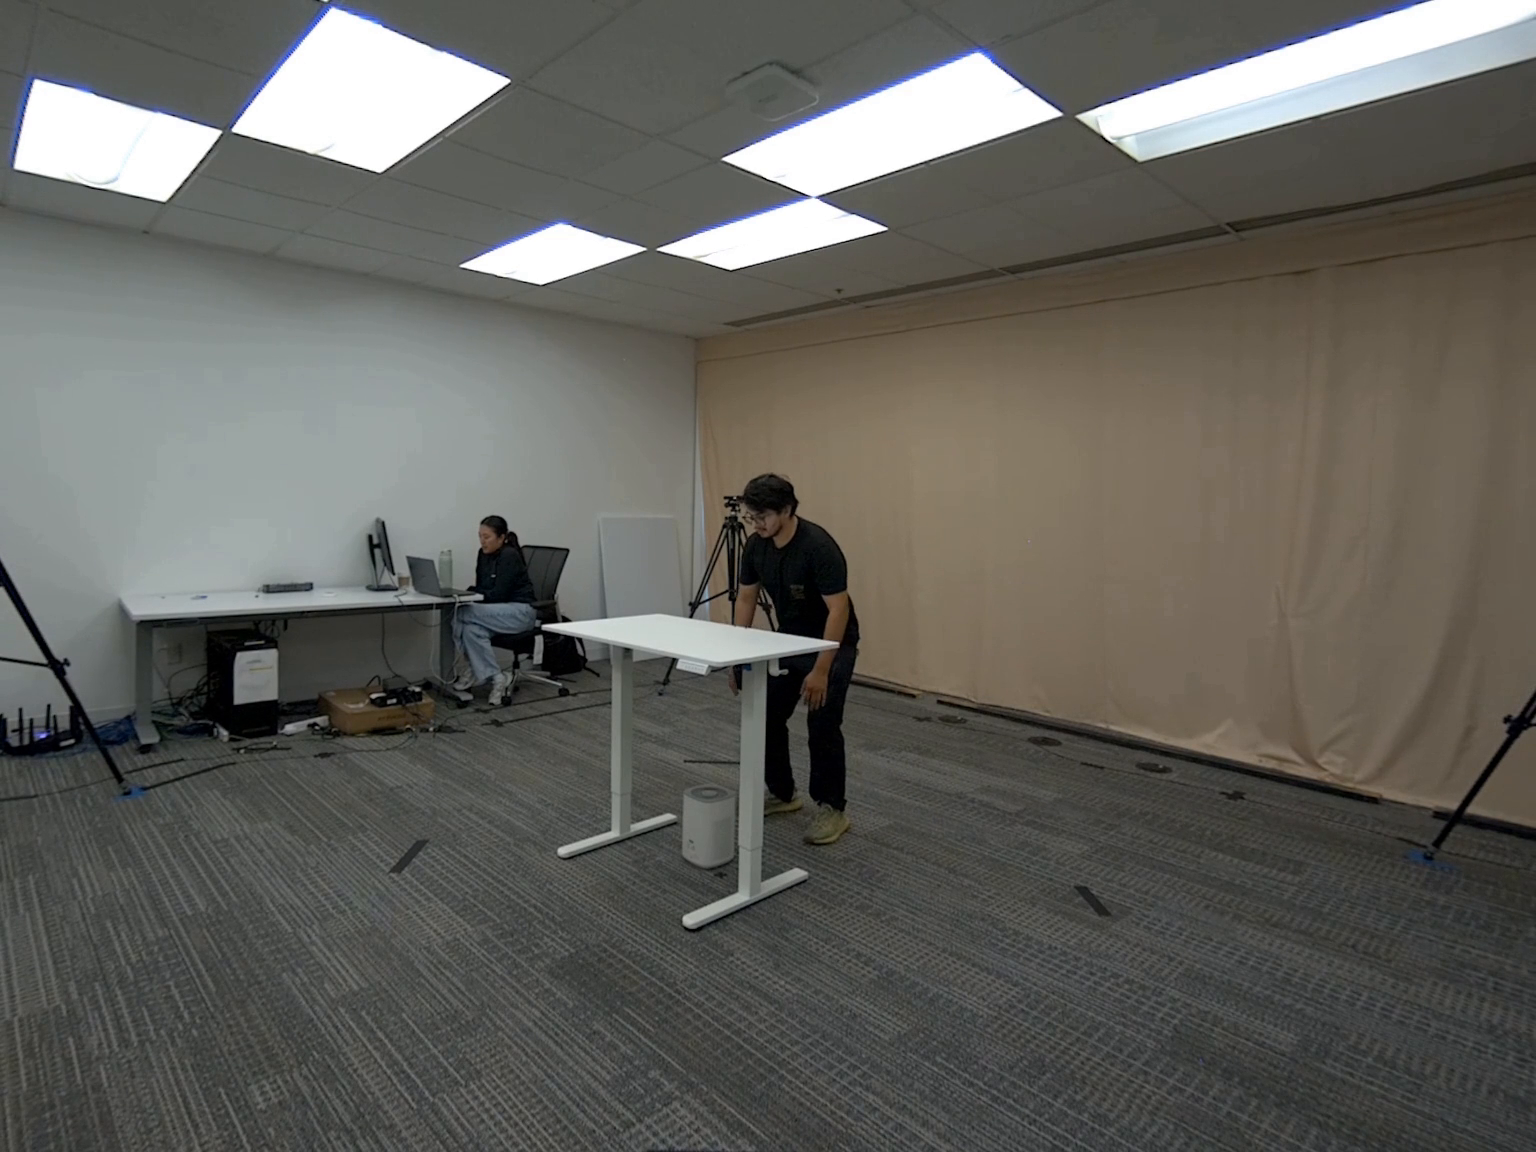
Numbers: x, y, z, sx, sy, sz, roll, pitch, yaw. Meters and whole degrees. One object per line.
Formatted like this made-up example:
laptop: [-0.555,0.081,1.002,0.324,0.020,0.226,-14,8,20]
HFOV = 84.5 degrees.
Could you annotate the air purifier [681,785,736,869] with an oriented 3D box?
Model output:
air purifier: [-0.230,0.955,3.217,0.175,0.265,0.168,5,5,44]
